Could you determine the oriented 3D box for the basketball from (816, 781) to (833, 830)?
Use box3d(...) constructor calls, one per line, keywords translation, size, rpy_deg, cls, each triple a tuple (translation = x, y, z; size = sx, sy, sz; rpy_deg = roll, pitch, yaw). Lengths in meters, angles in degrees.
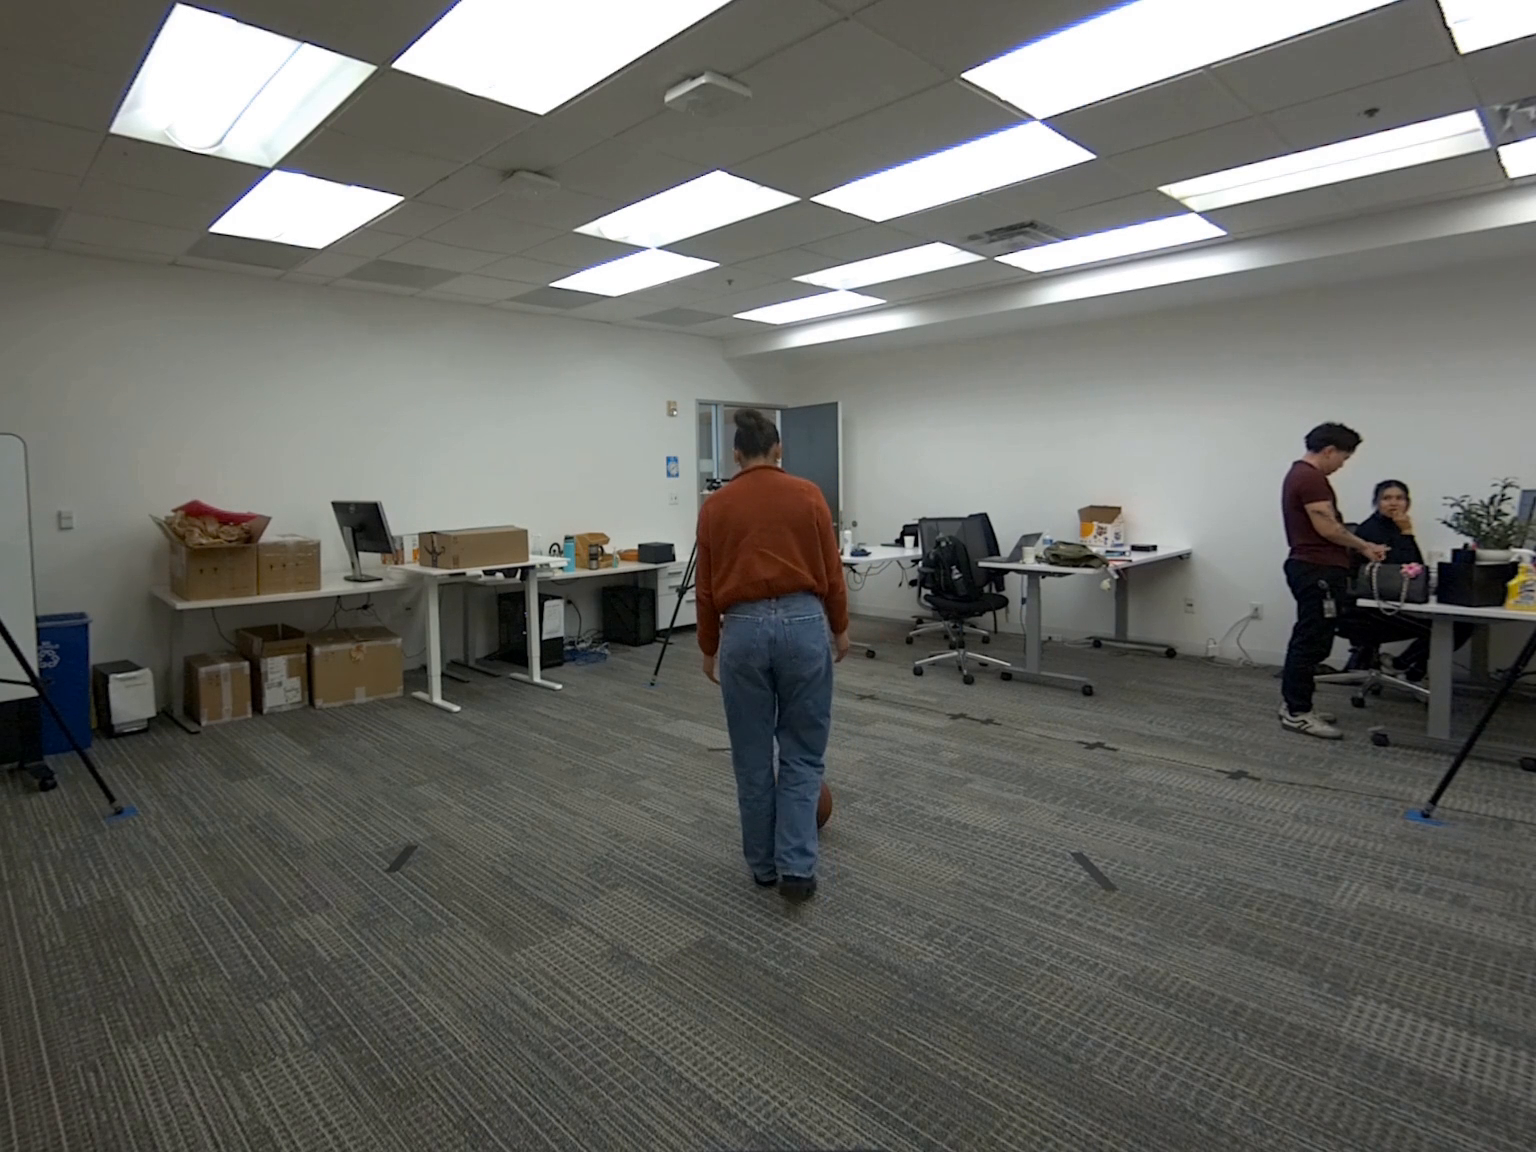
box3d(translation=(0.145, 0.891, 3.372), size=(0.236, 0.235, 0.237), rpy_deg=(-1, 5, -2), cls="basketball")
